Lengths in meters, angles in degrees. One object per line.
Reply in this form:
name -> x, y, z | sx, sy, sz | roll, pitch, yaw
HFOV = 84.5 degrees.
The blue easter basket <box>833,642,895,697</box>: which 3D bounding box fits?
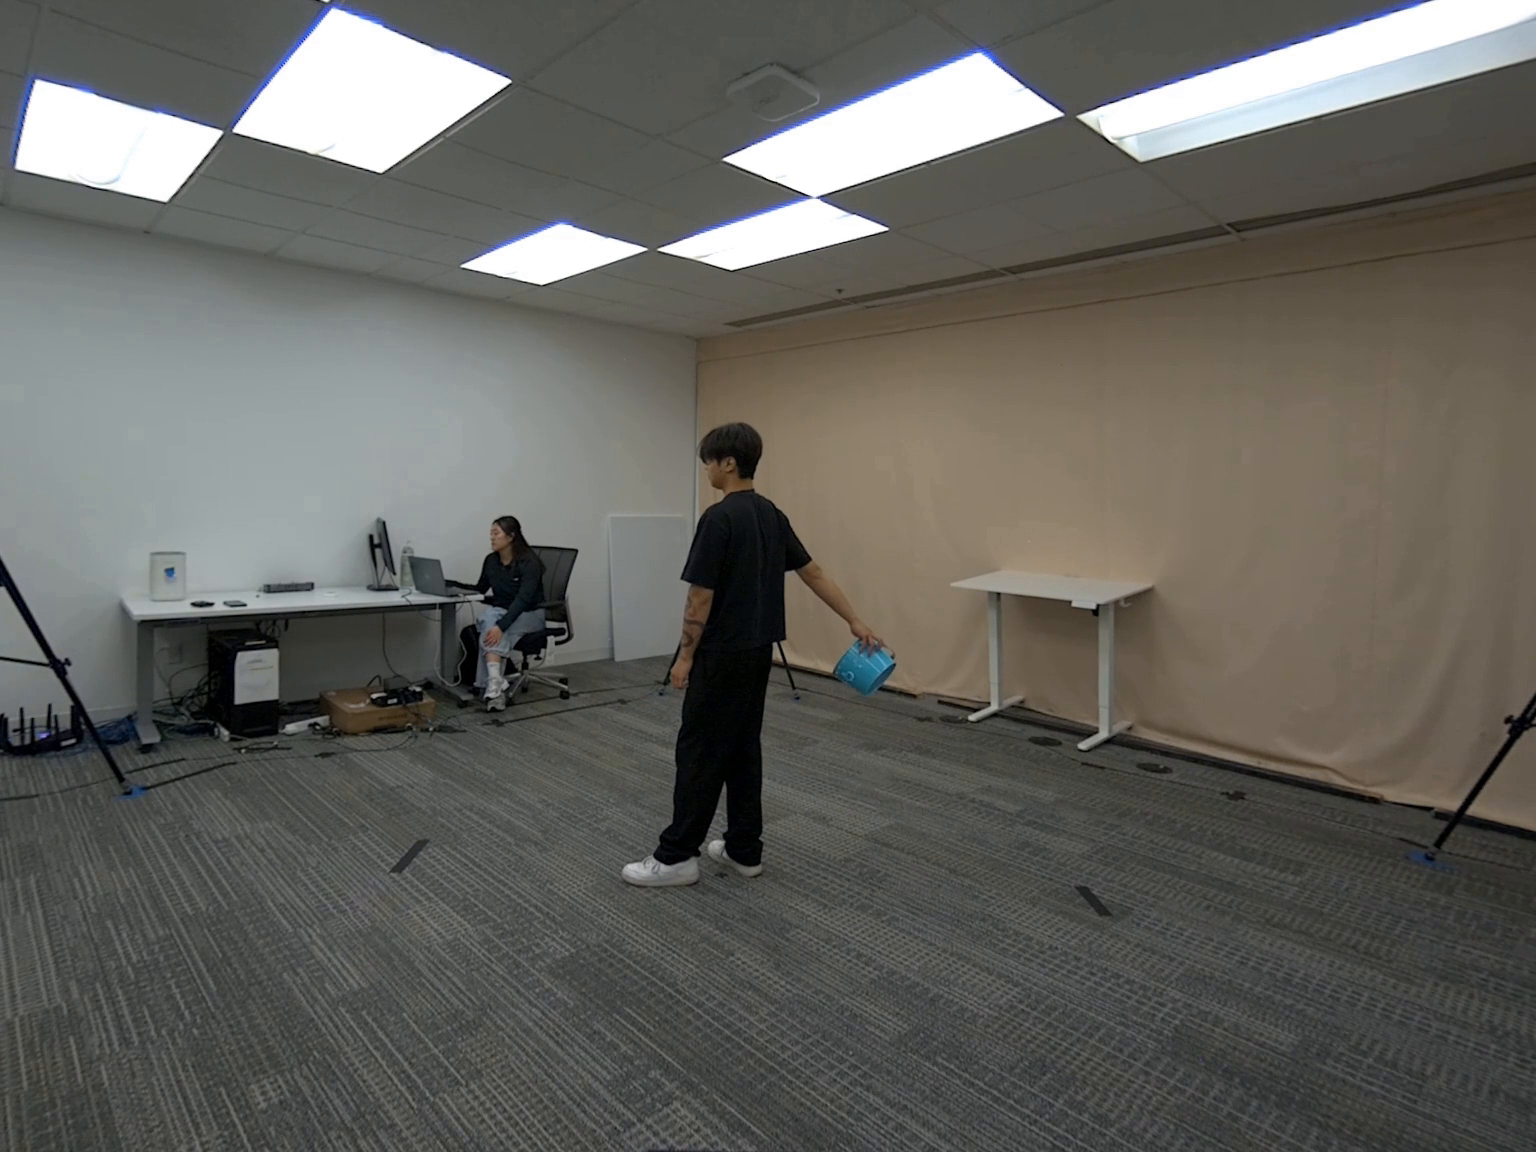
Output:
blue easter basket -> 0.384, 0.360, 3.338 | 0.159, 0.242, 0.239 | 40, 21, 20
